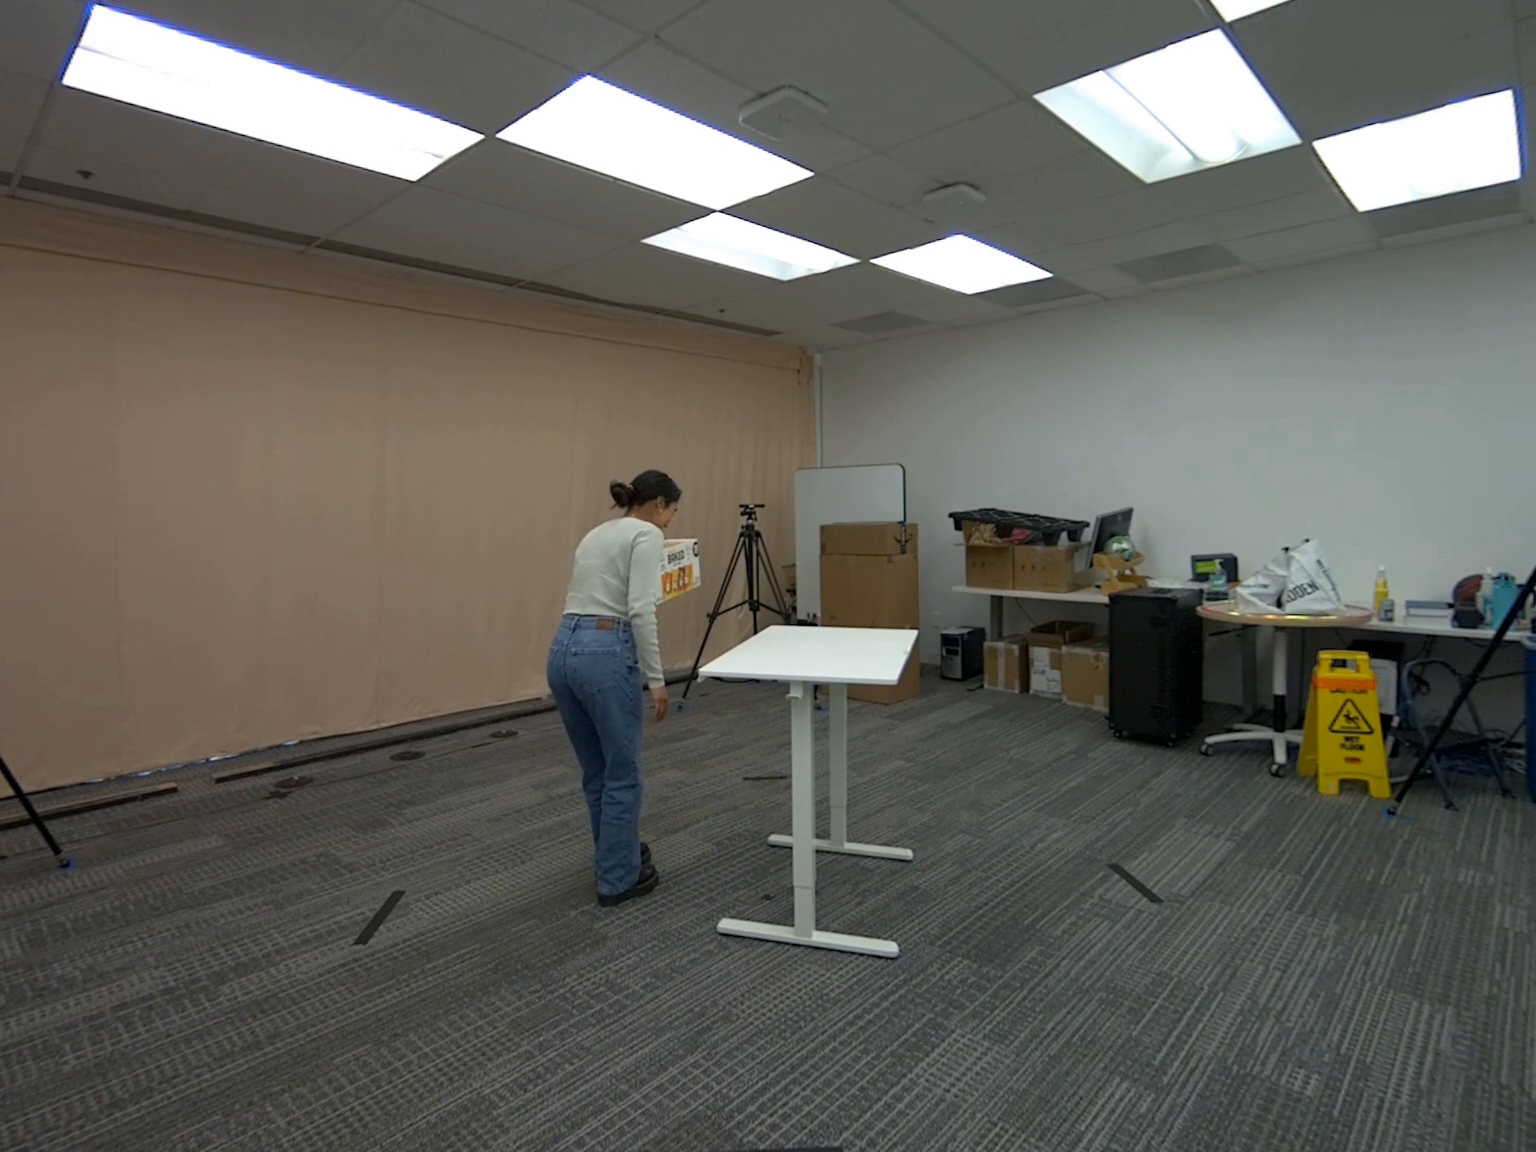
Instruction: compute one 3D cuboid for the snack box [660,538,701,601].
[{"bbox_3d":[-0.521,-0.020,3.458,0.348,0.204,0.398,-1,9,24],"label":"snack box"}]
